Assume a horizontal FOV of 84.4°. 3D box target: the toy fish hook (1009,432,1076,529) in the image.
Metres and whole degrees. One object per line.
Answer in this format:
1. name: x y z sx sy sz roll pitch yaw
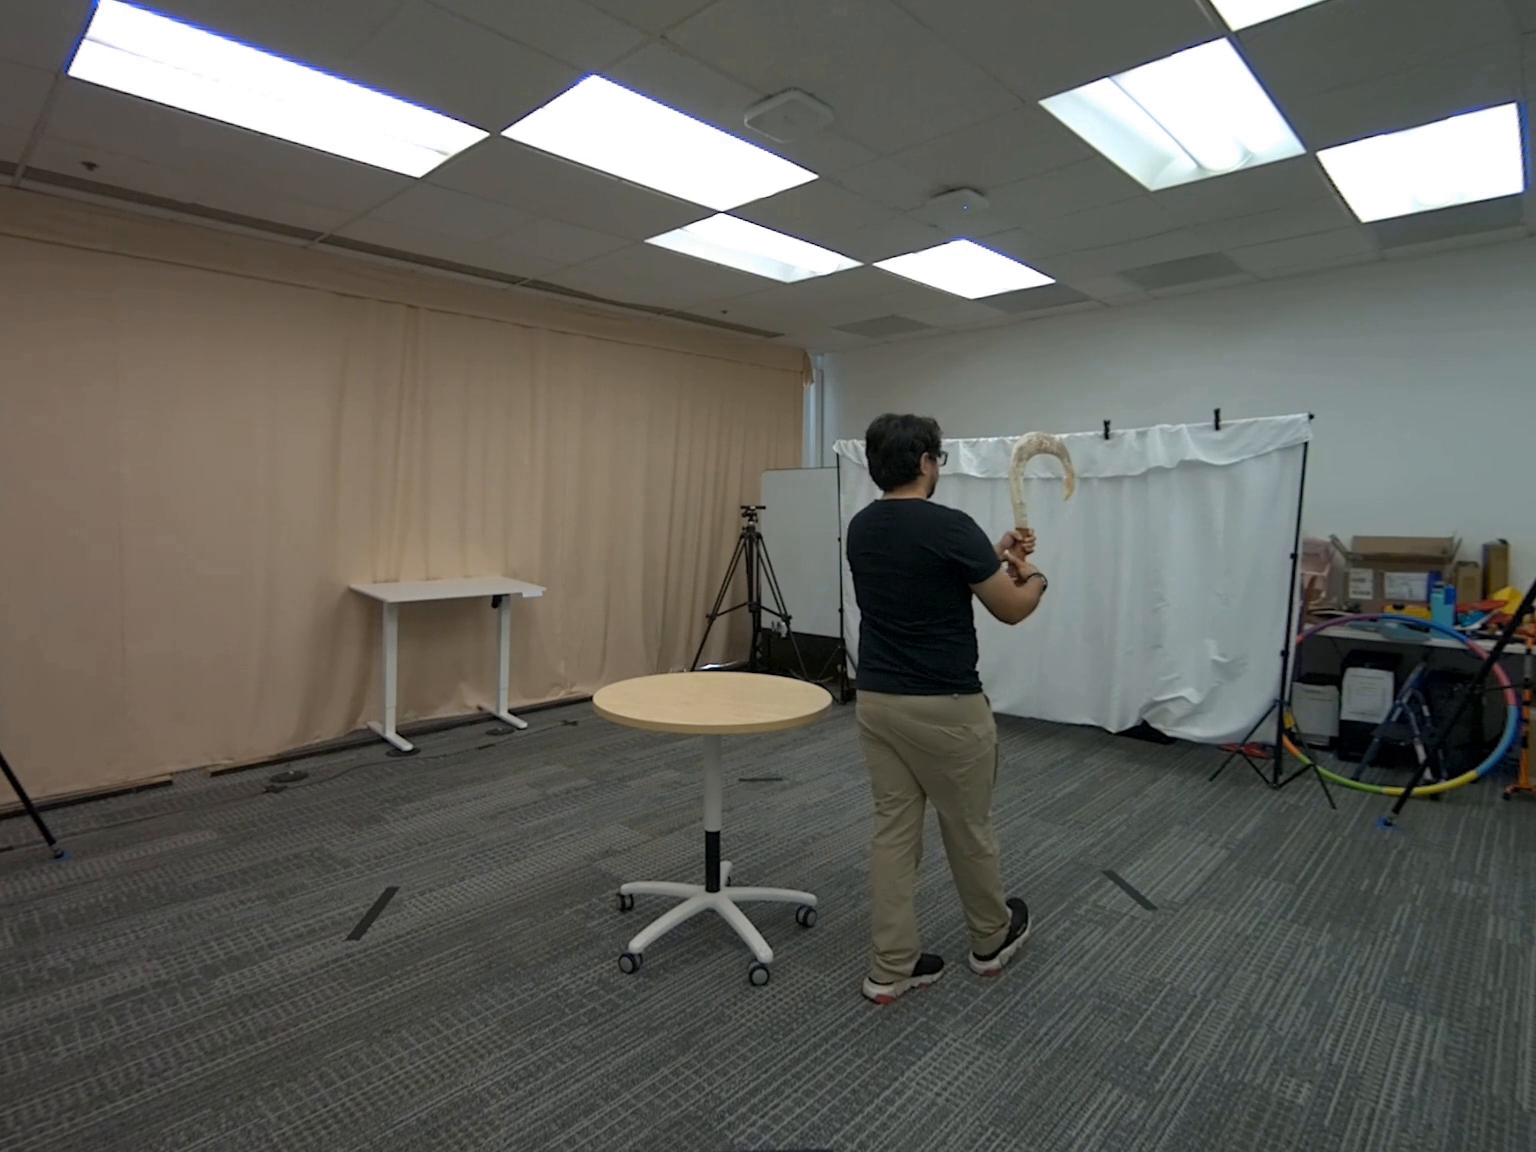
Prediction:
1. toy fish hook: 0.848 -0.197 2.599 0.223 0.508 0.048 8 -6 -6
